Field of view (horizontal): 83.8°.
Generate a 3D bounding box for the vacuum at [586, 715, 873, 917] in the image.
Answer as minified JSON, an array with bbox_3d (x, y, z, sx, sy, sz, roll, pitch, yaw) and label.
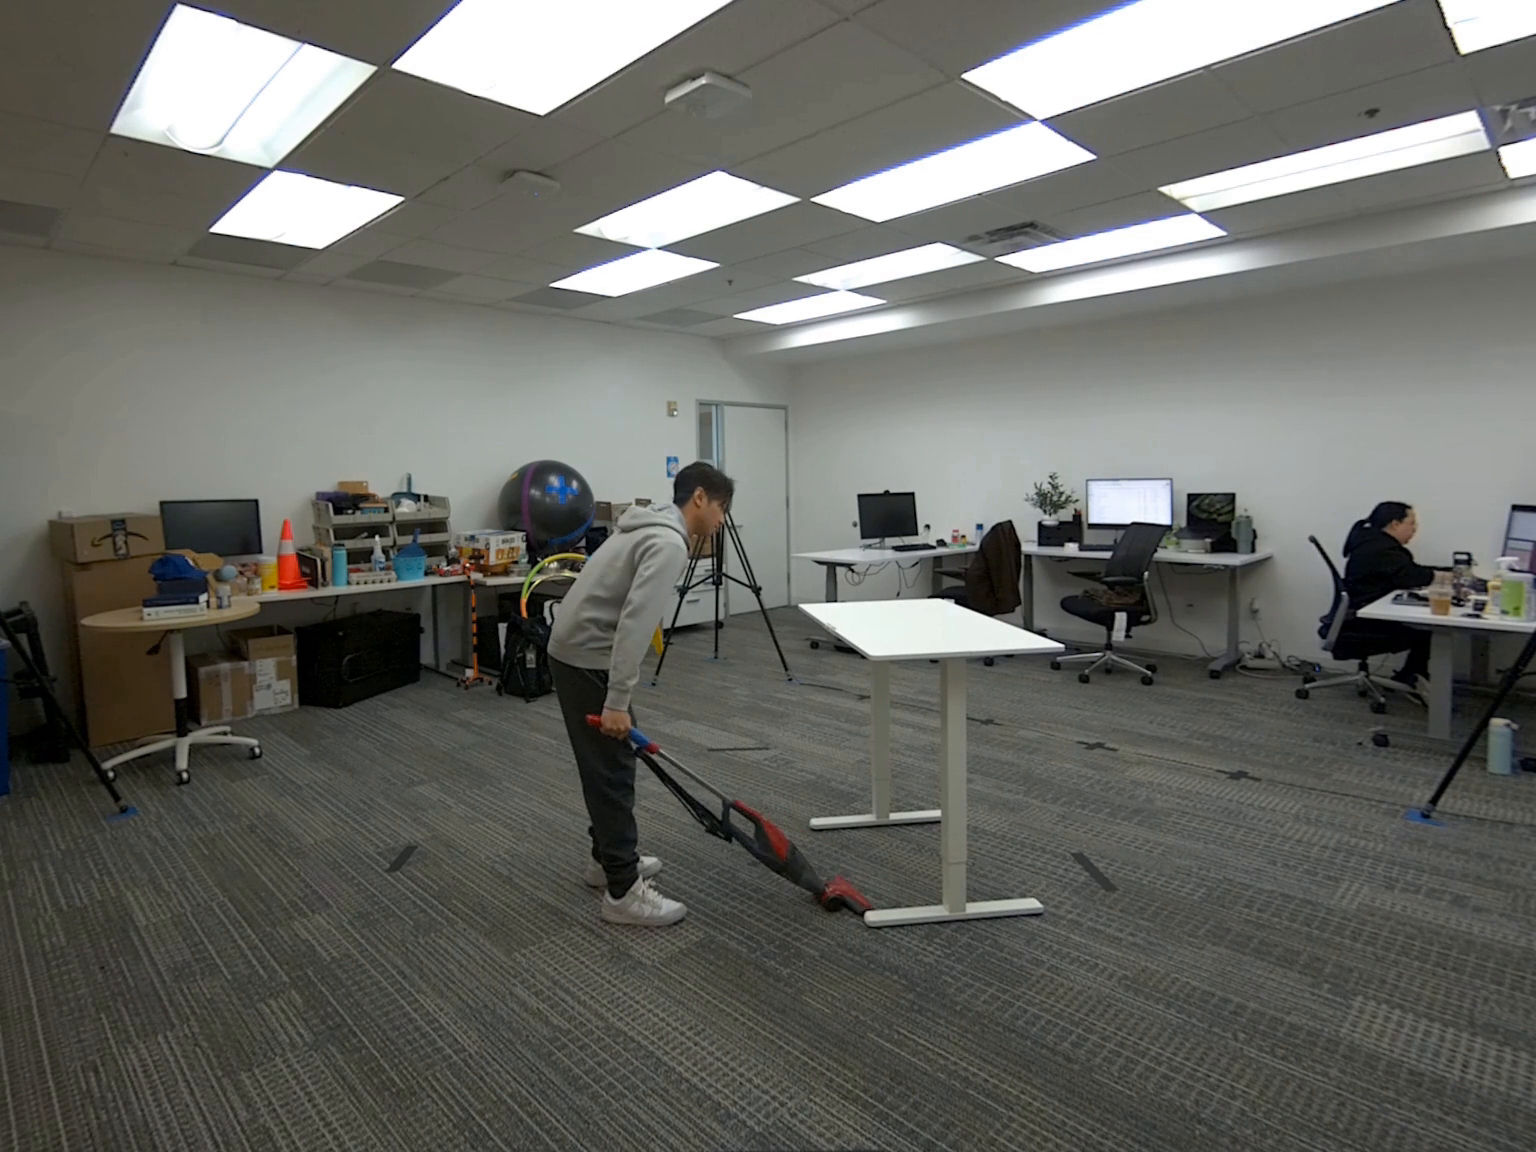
[{"bbox_3d":[-0.137,0.742,2.691,1.027,0.144,0.257,39,-10,-16],"label":"vacuum"}]
